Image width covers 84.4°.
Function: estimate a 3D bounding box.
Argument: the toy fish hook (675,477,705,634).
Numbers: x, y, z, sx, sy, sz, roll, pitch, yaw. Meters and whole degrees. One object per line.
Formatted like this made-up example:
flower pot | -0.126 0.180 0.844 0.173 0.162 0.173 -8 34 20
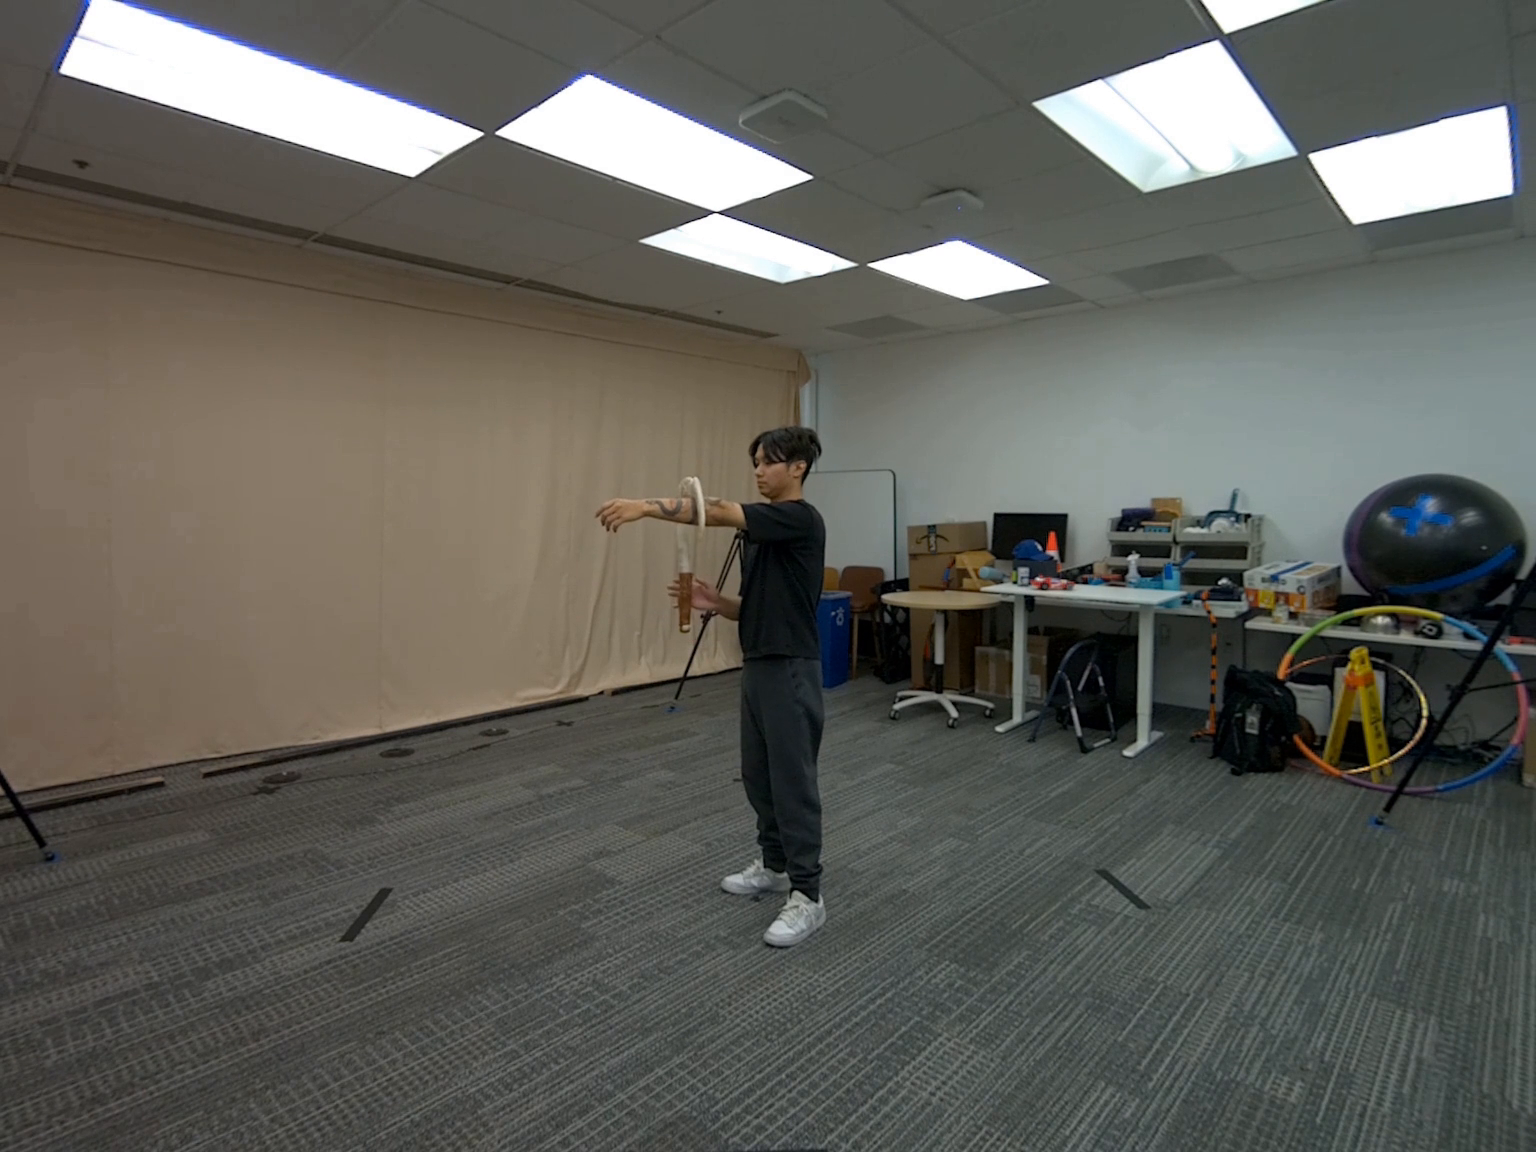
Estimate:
toy fish hook | -0.242 -0.052 2.668 0.047 0.505 0.229 -1 4 -18
